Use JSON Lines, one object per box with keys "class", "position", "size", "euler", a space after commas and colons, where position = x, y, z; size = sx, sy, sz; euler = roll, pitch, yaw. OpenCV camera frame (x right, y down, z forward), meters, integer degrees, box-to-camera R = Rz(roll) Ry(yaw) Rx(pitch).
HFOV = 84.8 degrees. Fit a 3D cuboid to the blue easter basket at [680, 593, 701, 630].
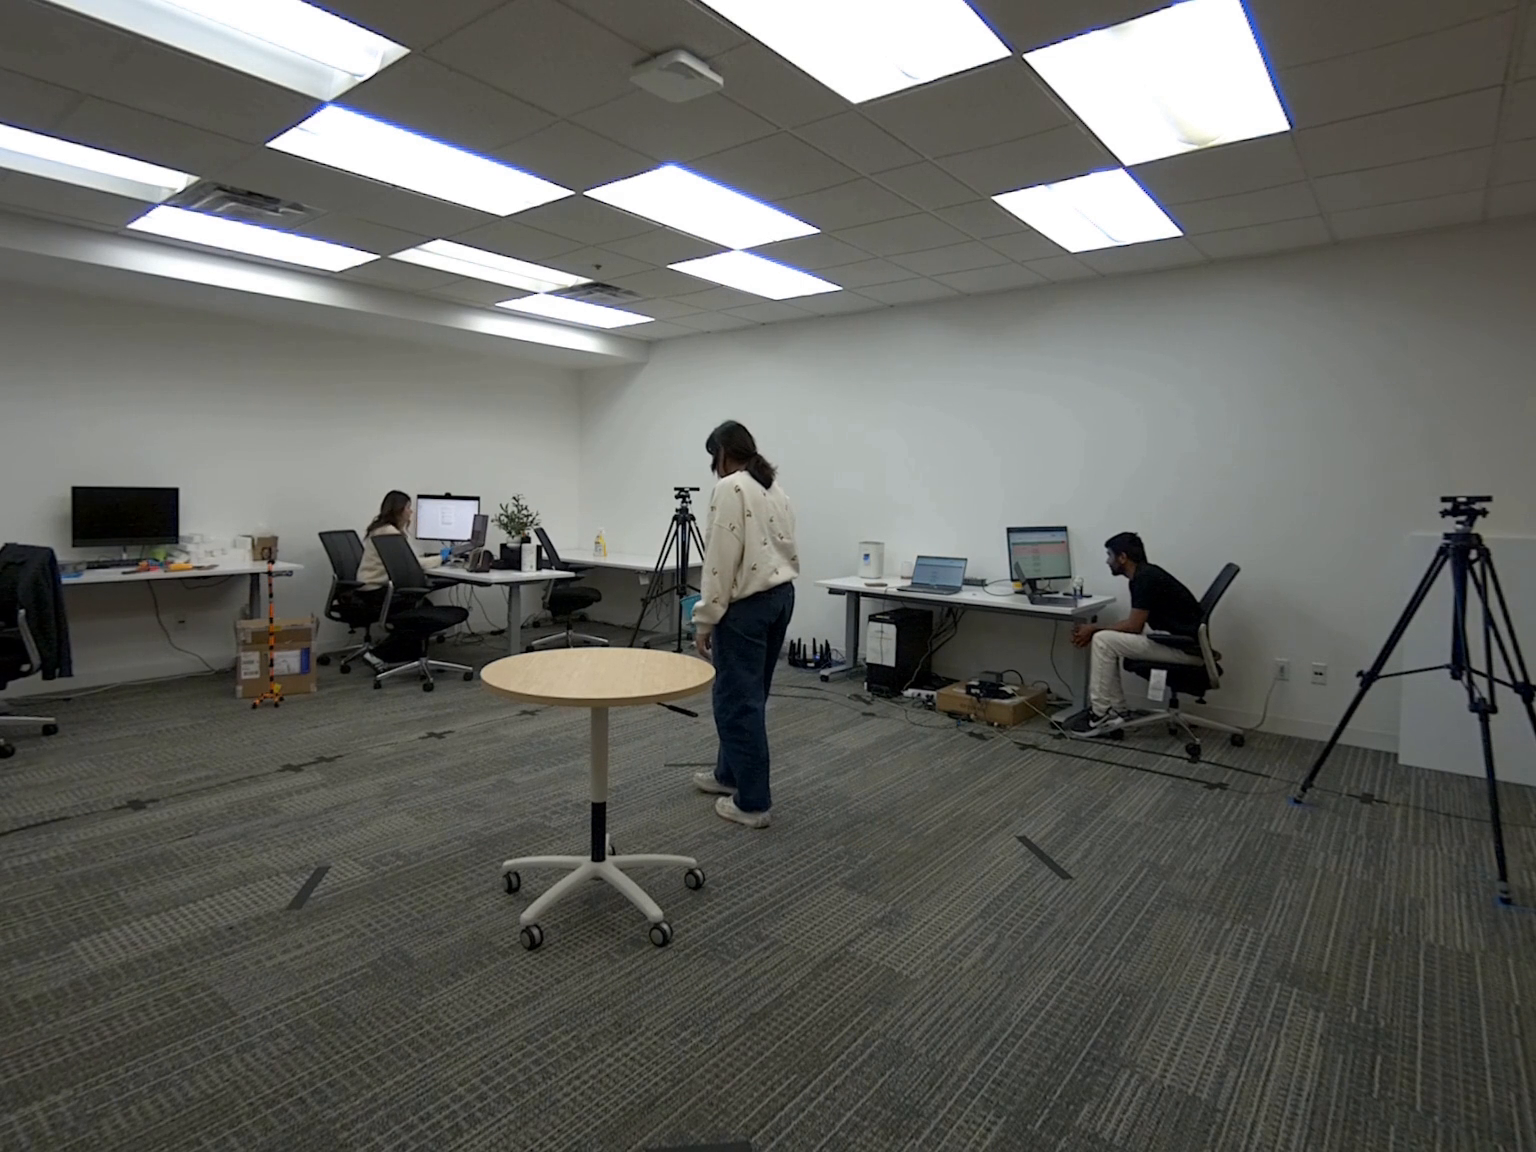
{"class": "blue easter basket", "position": [-0.300, 0.160, 3.938], "size": [0.243, 0.157, 0.242], "euler": [-10, -5, -3]}
